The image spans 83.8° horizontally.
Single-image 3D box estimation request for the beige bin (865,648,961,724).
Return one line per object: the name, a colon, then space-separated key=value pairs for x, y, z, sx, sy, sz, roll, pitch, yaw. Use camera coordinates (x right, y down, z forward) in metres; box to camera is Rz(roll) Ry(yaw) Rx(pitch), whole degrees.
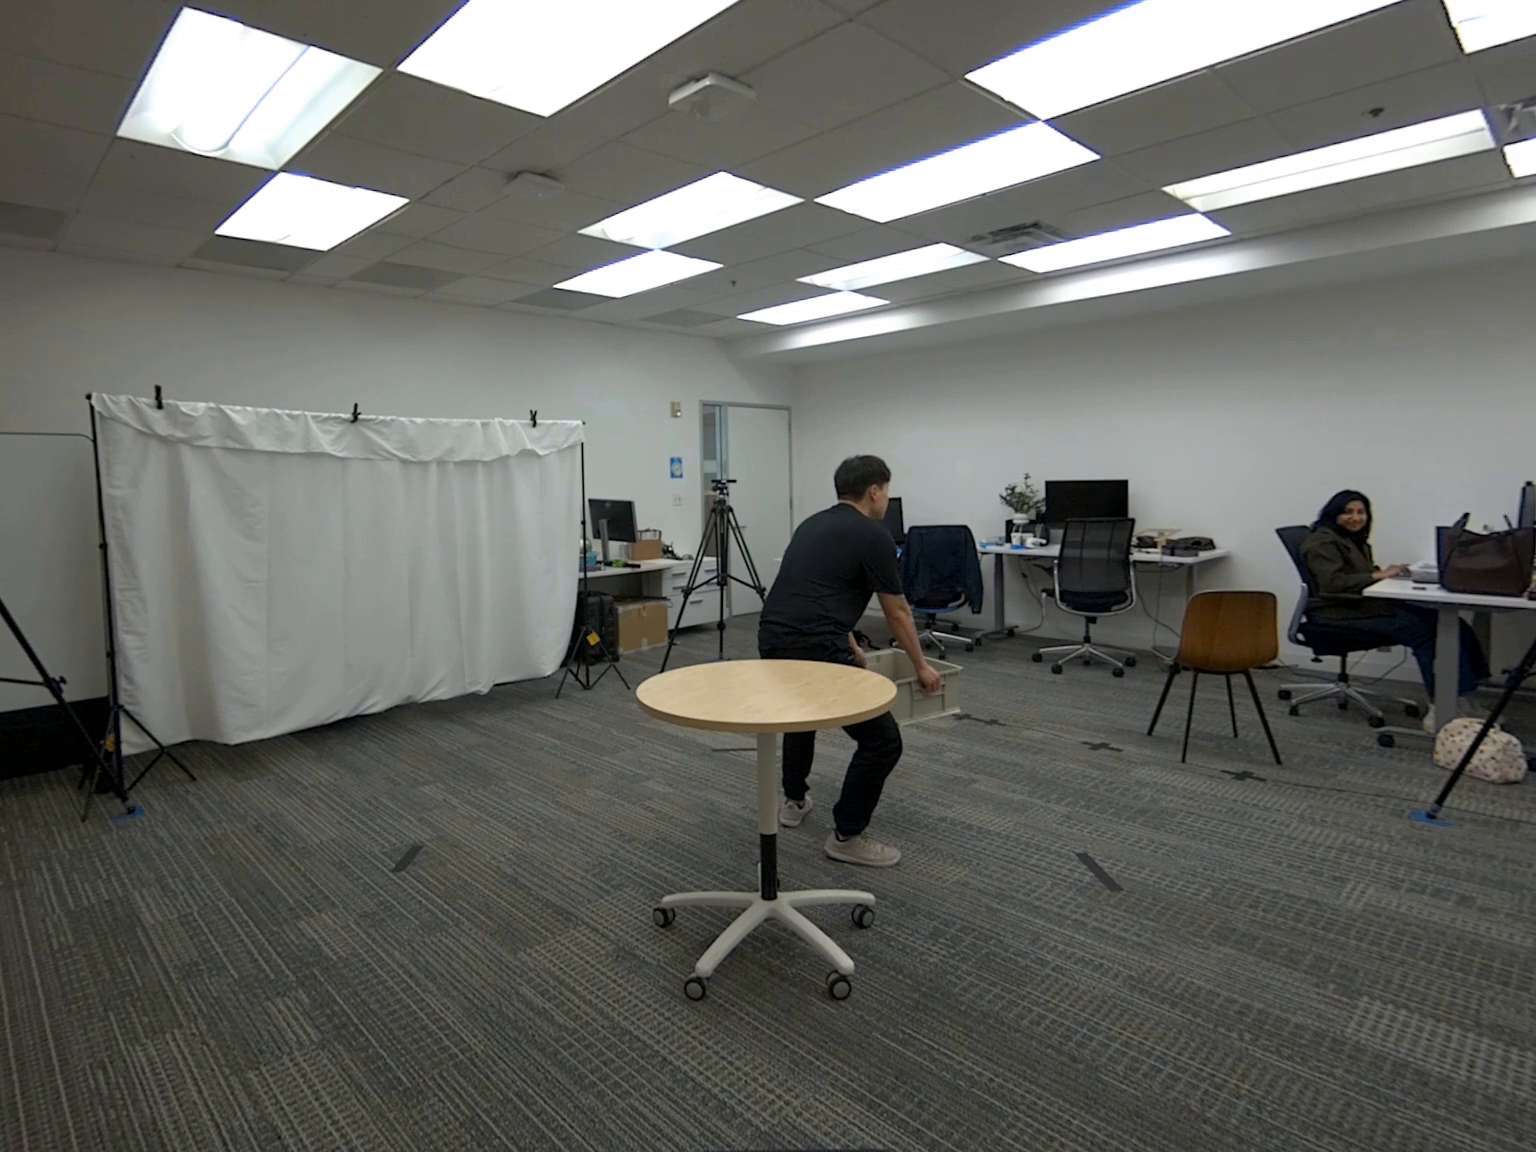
beige bin: x=0.504 y=0.445 z=3.464 sx=0.369 sy=0.188 sz=0.434 roll=-5 pitch=7 yaw=-30
